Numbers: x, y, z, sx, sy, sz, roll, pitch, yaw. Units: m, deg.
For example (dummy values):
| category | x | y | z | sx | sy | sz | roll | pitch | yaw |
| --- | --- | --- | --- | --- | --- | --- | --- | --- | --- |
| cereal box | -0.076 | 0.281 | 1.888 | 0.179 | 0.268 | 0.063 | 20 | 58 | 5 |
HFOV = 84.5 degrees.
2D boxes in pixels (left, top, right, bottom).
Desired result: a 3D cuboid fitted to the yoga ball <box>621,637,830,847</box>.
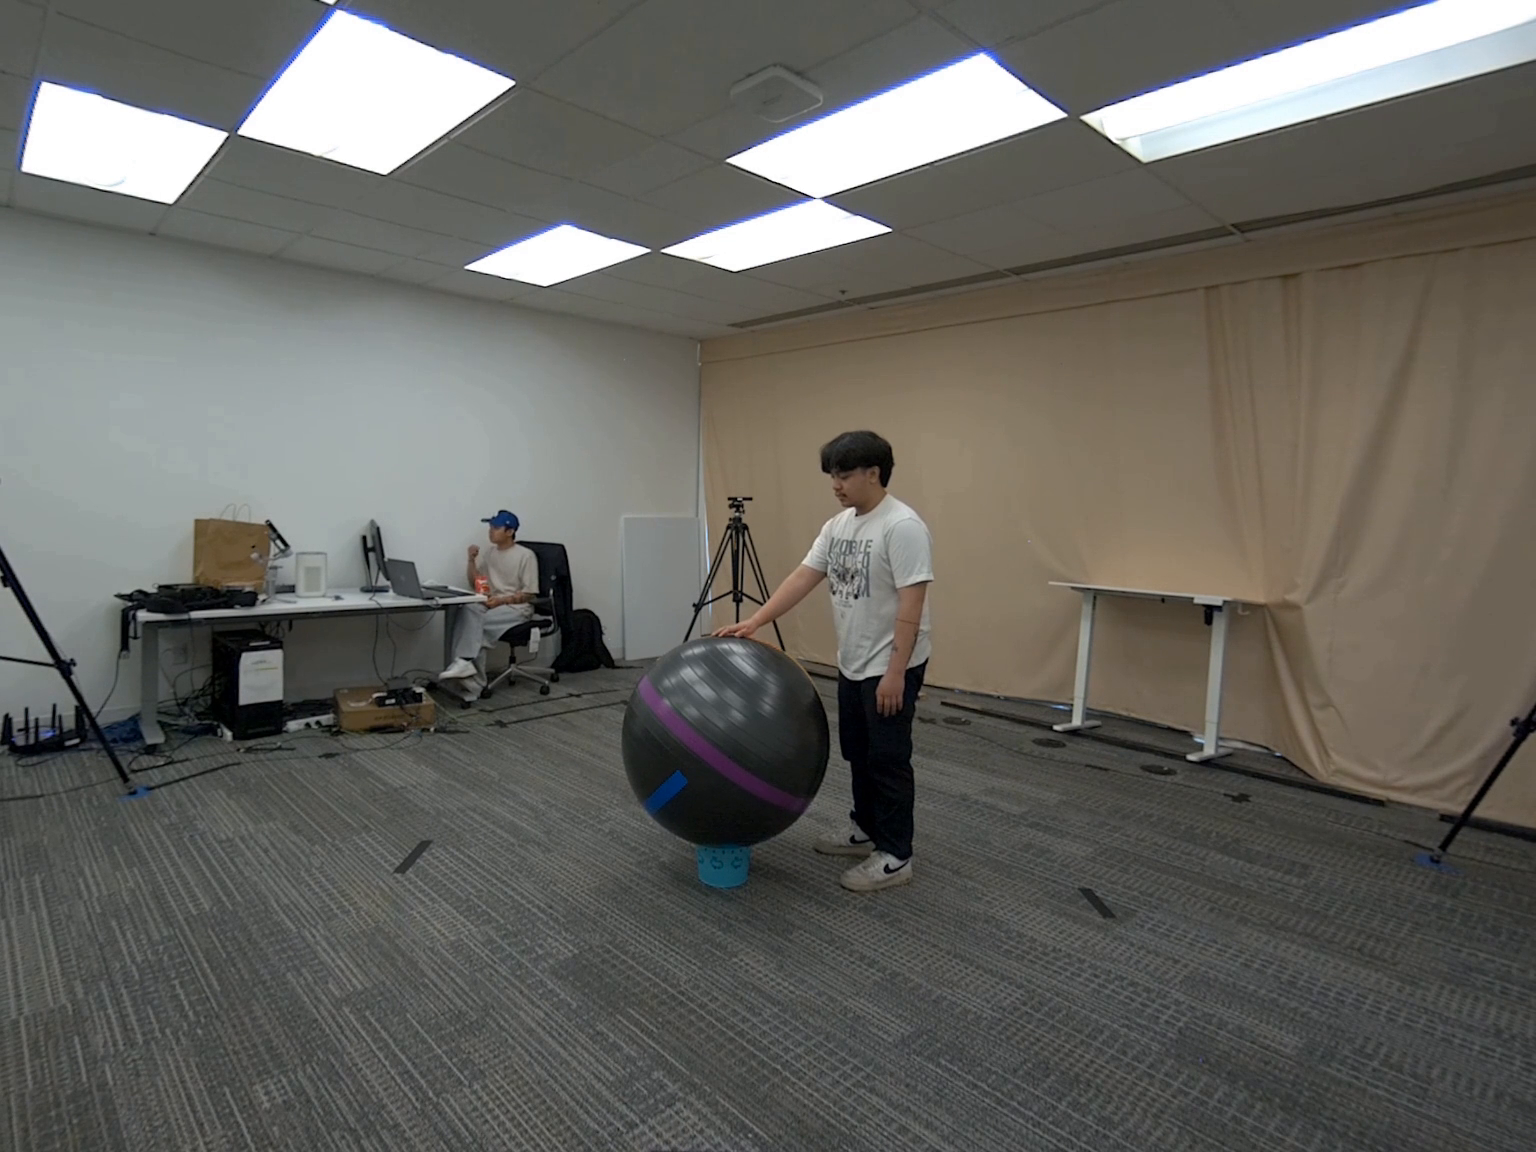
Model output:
| category | x | y | z | sx | sy | sz | roll | pitch | yaw |
| --- | --- | --- | --- | --- | --- | --- | --- | --- | --- |
| yoga ball | -0.161 | 0.601 | 3.088 | 0.757 | 0.756 | 0.761 | 1 | 4 | -1 |
